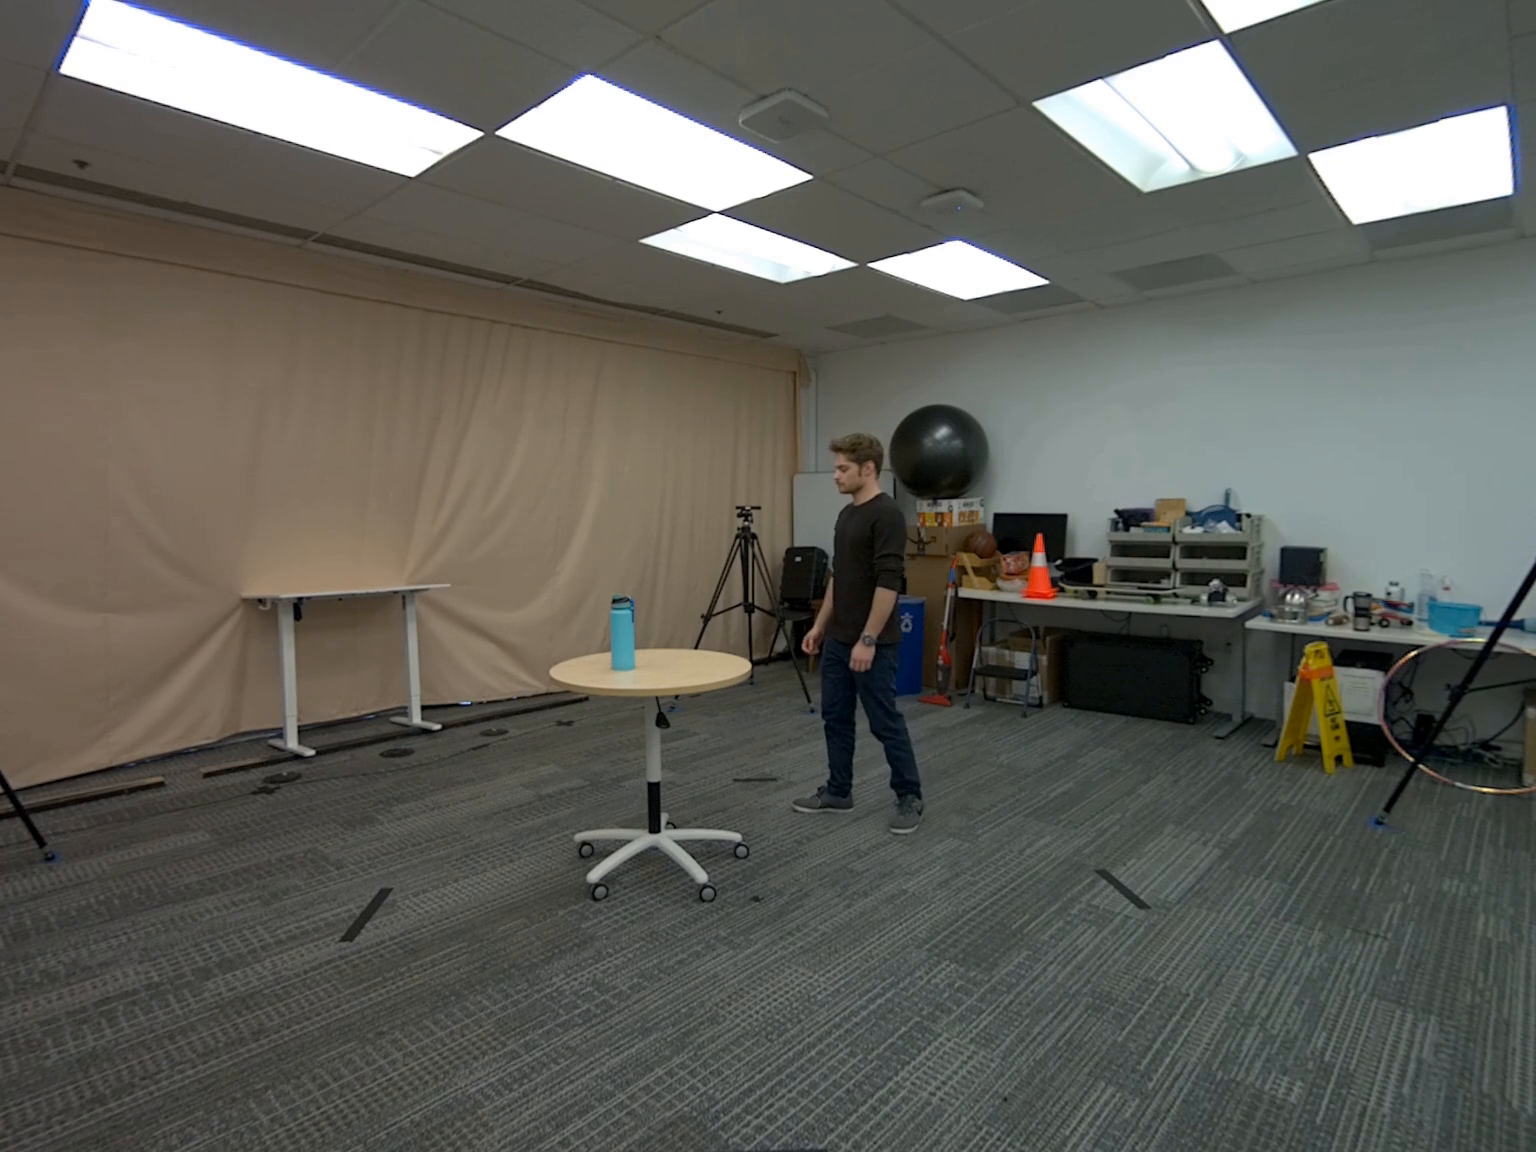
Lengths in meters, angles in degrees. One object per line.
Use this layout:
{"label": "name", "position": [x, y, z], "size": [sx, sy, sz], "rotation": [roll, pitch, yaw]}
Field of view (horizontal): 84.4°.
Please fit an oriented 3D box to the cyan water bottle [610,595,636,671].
{"label": "cyan water bottle", "position": [-0.555, 0.210, 3.186], "size": [0.092, 0.283, 0.092], "rotation": [0, 2, -2]}
